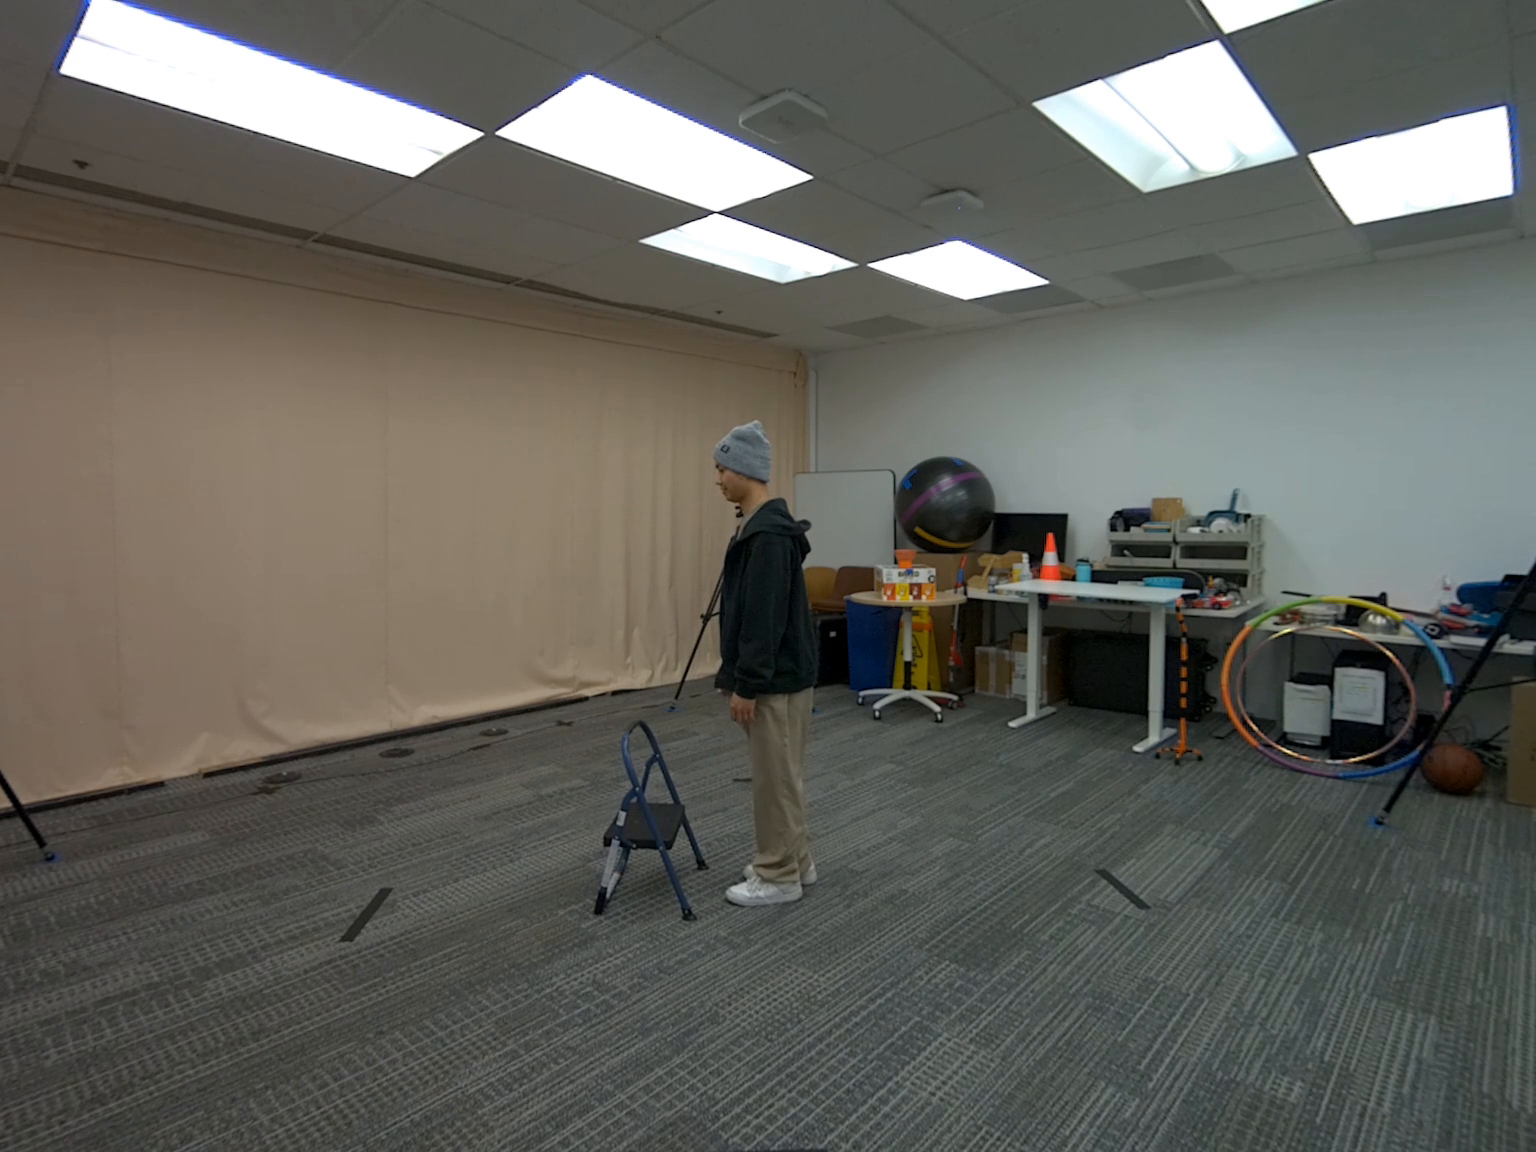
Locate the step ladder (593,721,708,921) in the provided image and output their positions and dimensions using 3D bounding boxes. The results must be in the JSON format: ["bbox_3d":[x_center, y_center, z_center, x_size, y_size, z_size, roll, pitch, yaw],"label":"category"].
[{"bbox_3d":[-0.414,0.845,3.046,0.351,0.605,0.429,0,3,3],"label":"step ladder"}]
